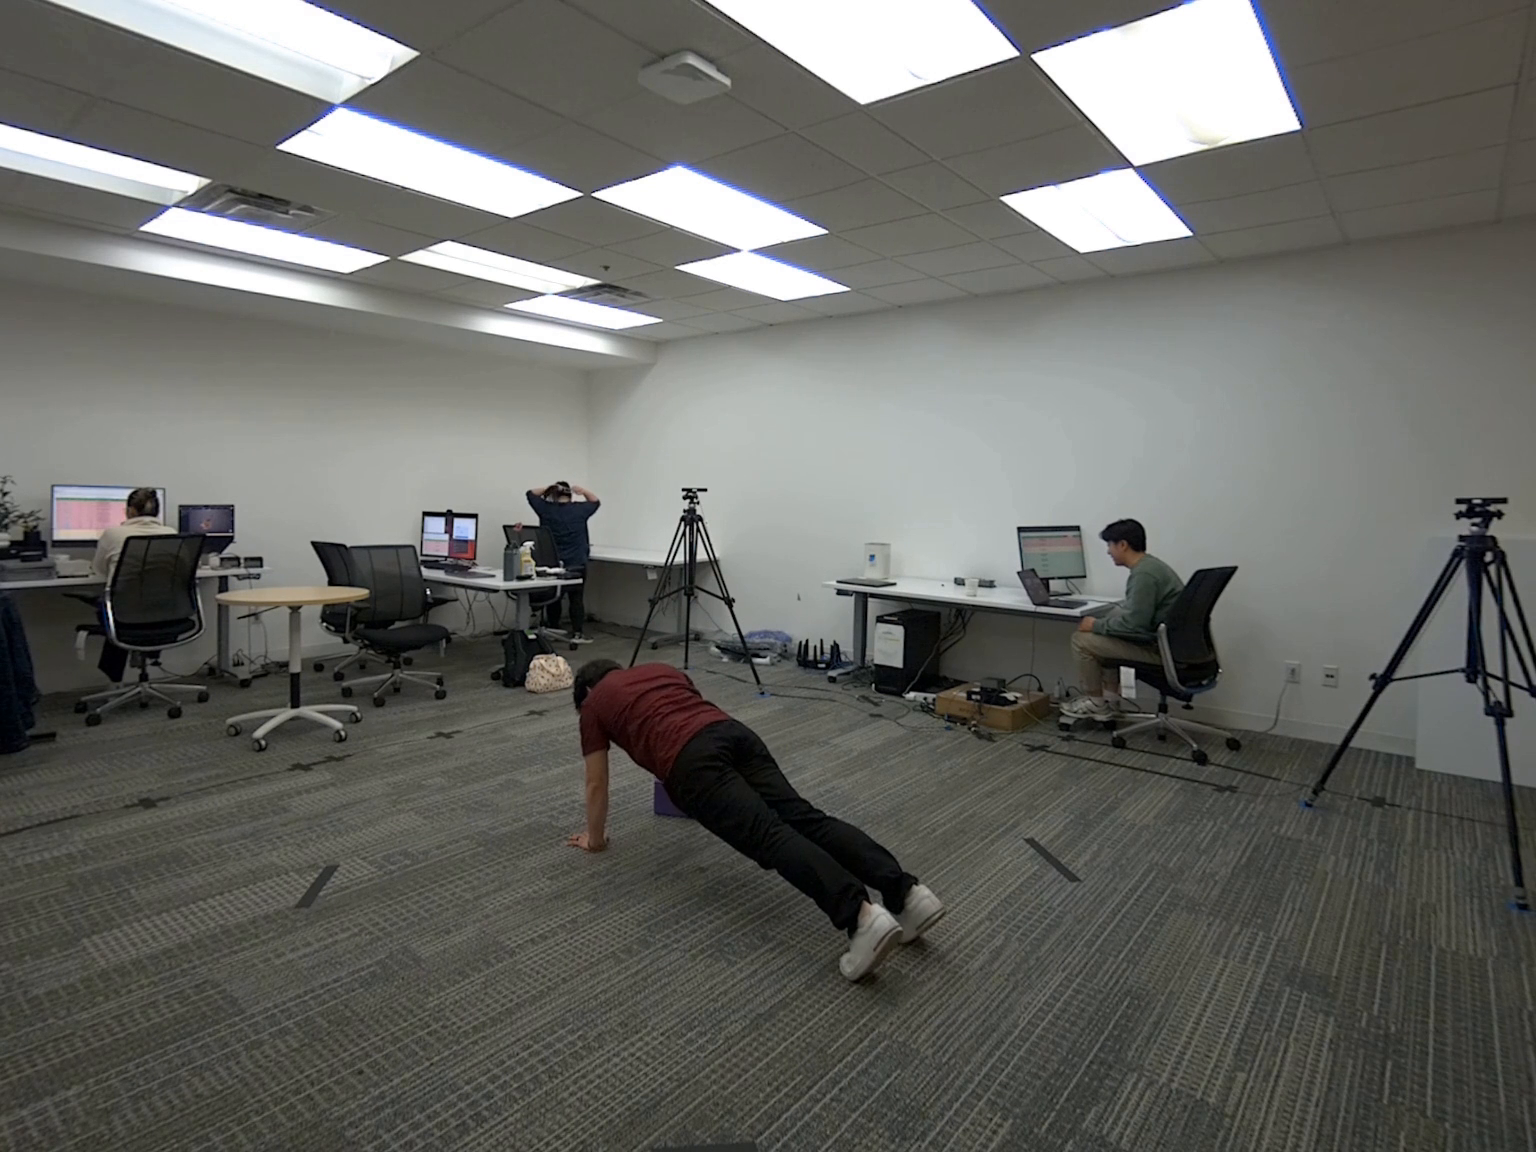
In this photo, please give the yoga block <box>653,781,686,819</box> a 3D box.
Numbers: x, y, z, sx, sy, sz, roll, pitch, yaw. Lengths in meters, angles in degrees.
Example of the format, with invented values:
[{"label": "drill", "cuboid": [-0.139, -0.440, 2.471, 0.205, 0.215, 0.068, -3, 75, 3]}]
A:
[{"label": "yoga block", "cuboid": [-0.380, 0.938, 3.626, 0.233, 0.148, 0.075, 3, 3, 13]}]
